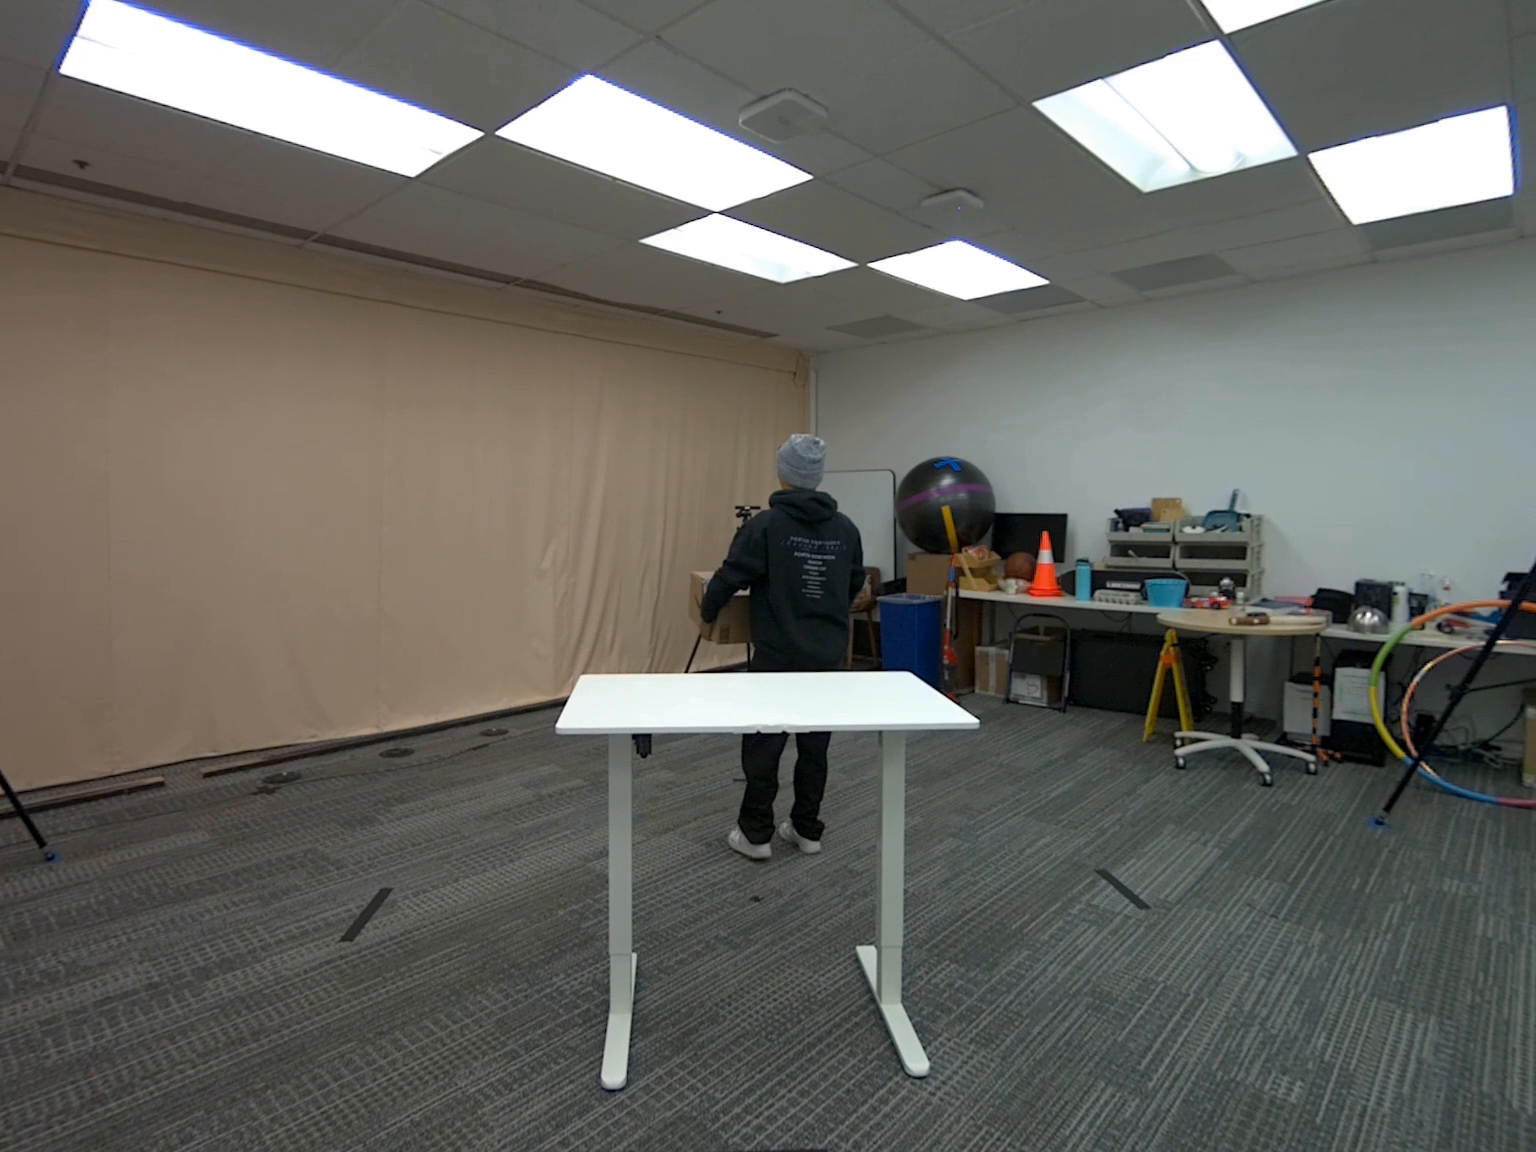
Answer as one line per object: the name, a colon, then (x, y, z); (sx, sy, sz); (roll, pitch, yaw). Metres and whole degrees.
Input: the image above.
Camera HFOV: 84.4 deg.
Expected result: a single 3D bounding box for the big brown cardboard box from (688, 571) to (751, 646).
big brown cardboard box: (-0.022, 0.126, 3.759); (0.577, 0.231, 0.429); (-2, 13, -20)
